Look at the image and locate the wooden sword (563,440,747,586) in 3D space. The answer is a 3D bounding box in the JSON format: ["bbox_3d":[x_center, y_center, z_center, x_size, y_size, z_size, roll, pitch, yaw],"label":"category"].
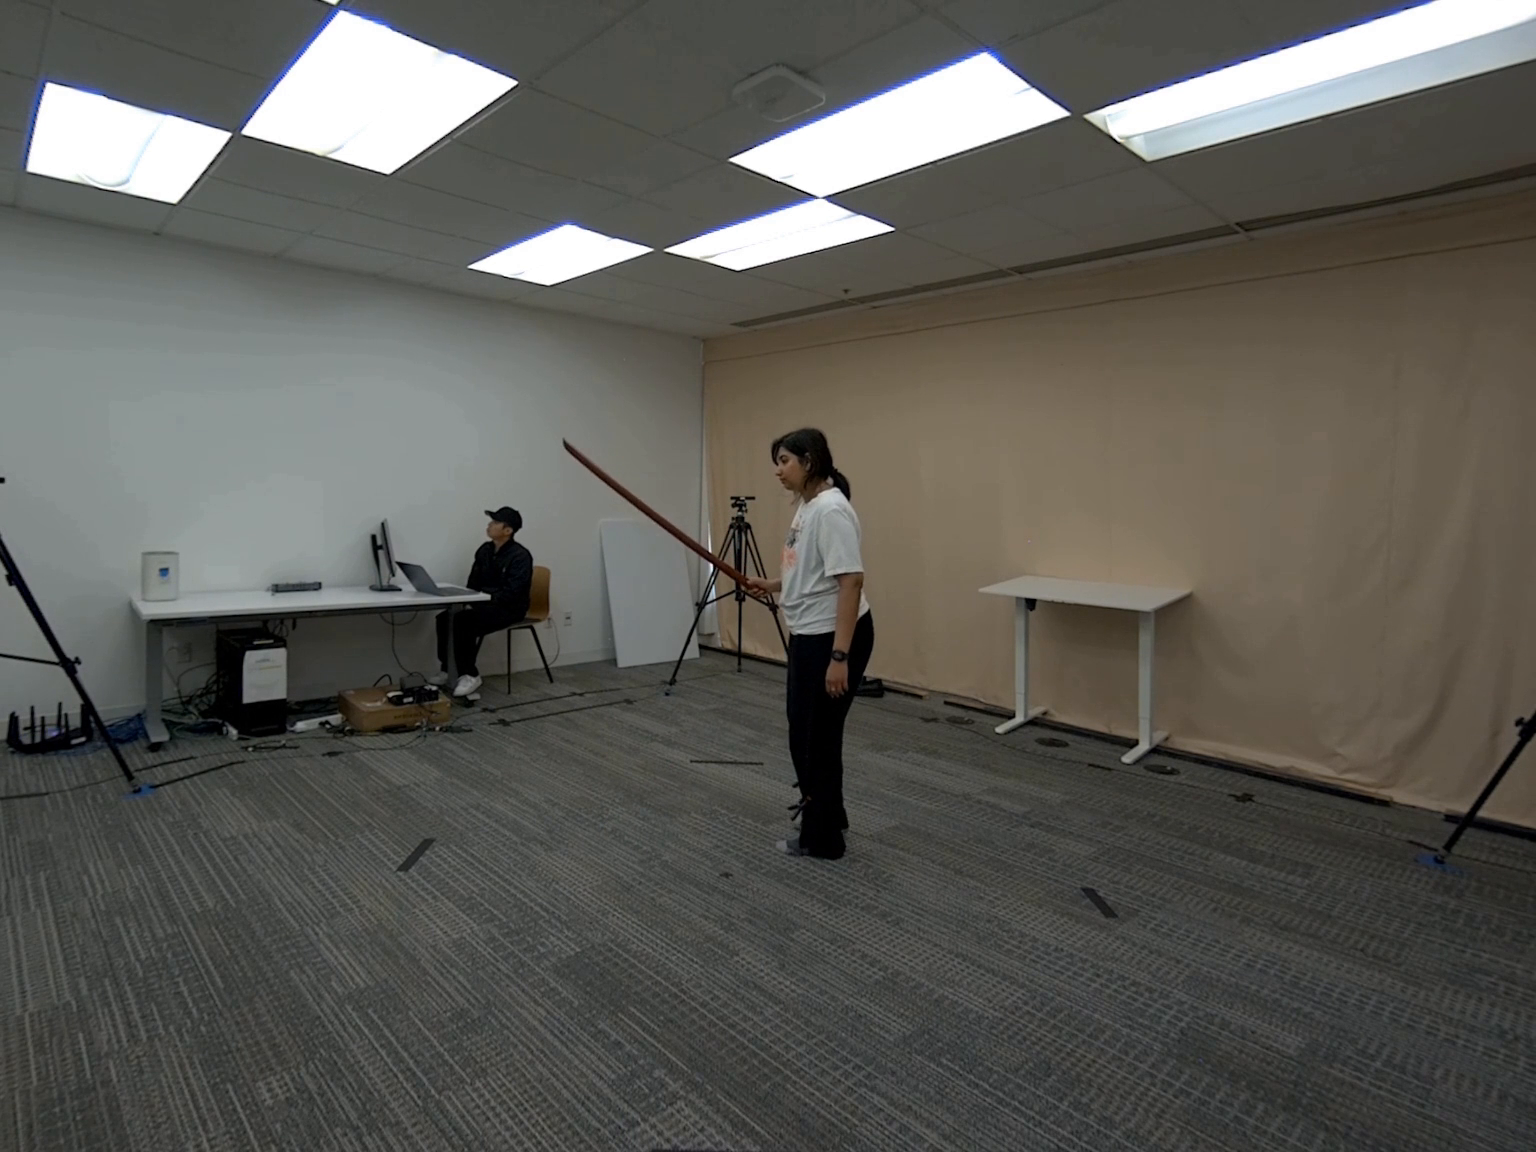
[{"bbox_3d":[-0.400,-0.201,3.237,1.002,0.024,0.052,39,-2,-21],"label":"wooden sword"}]
